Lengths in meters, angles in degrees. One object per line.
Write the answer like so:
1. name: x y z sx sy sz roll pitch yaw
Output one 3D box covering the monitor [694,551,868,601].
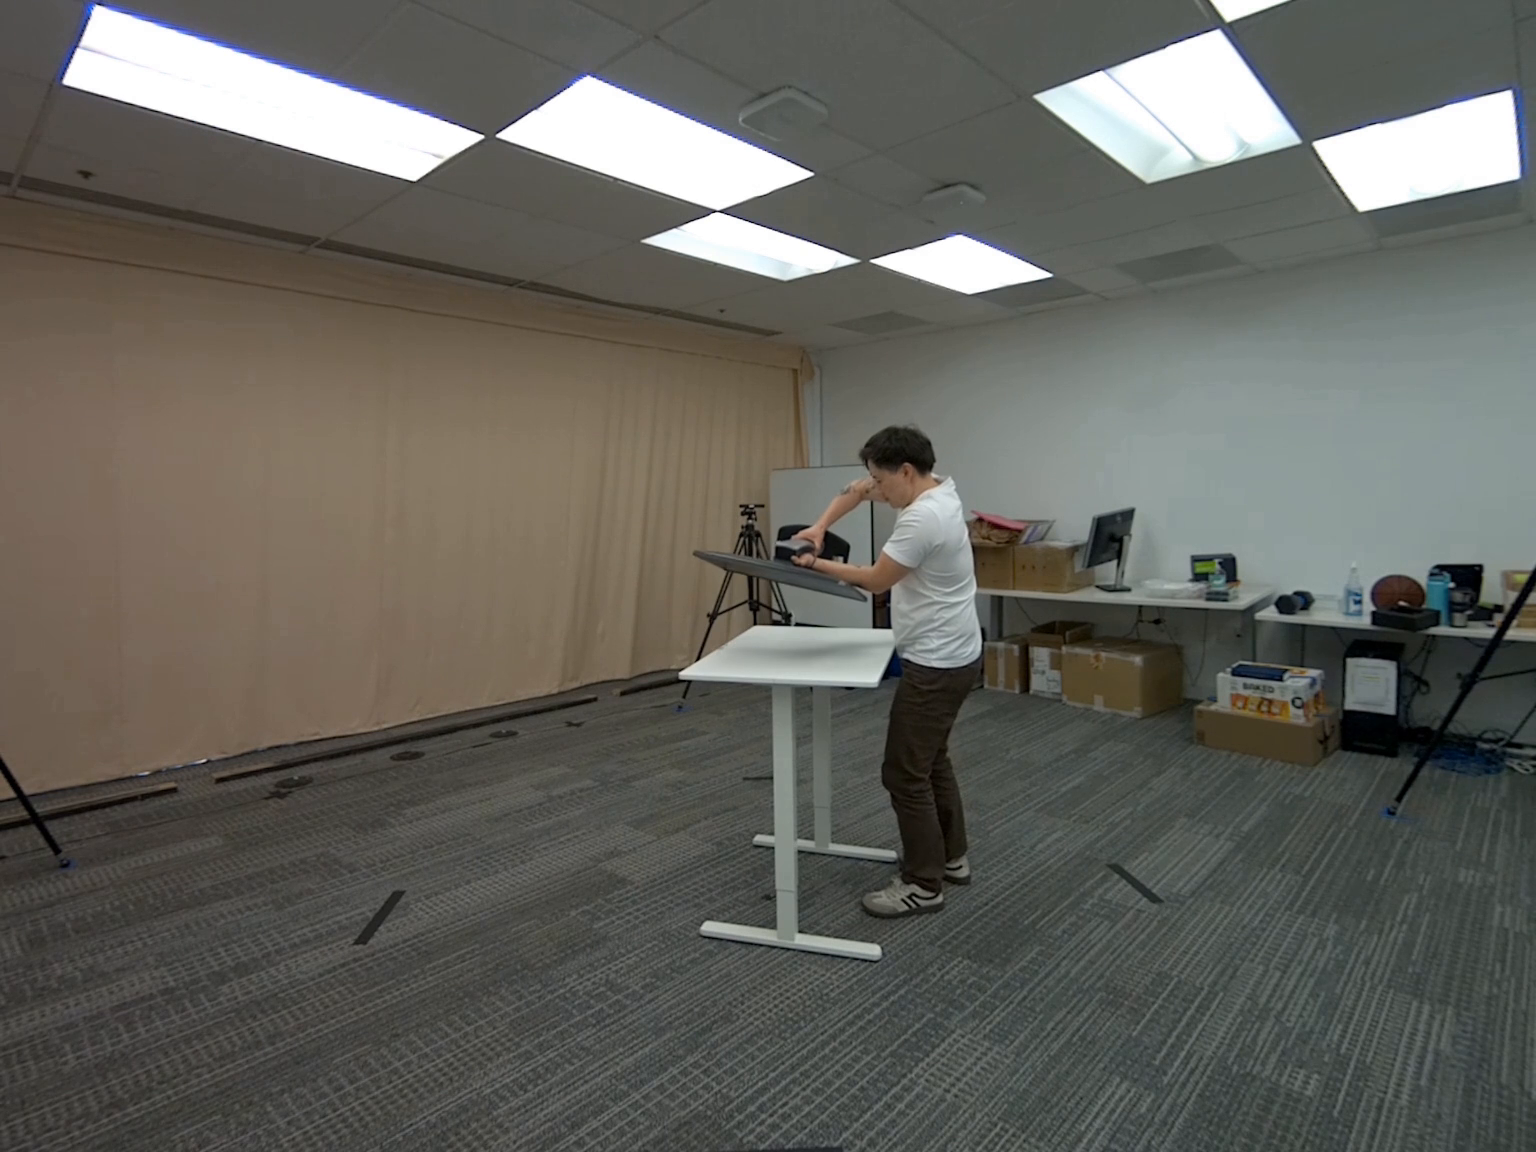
1. monitor: 0.093 -0.047 2.922 0.551 0.186 0.514 13 15 19
